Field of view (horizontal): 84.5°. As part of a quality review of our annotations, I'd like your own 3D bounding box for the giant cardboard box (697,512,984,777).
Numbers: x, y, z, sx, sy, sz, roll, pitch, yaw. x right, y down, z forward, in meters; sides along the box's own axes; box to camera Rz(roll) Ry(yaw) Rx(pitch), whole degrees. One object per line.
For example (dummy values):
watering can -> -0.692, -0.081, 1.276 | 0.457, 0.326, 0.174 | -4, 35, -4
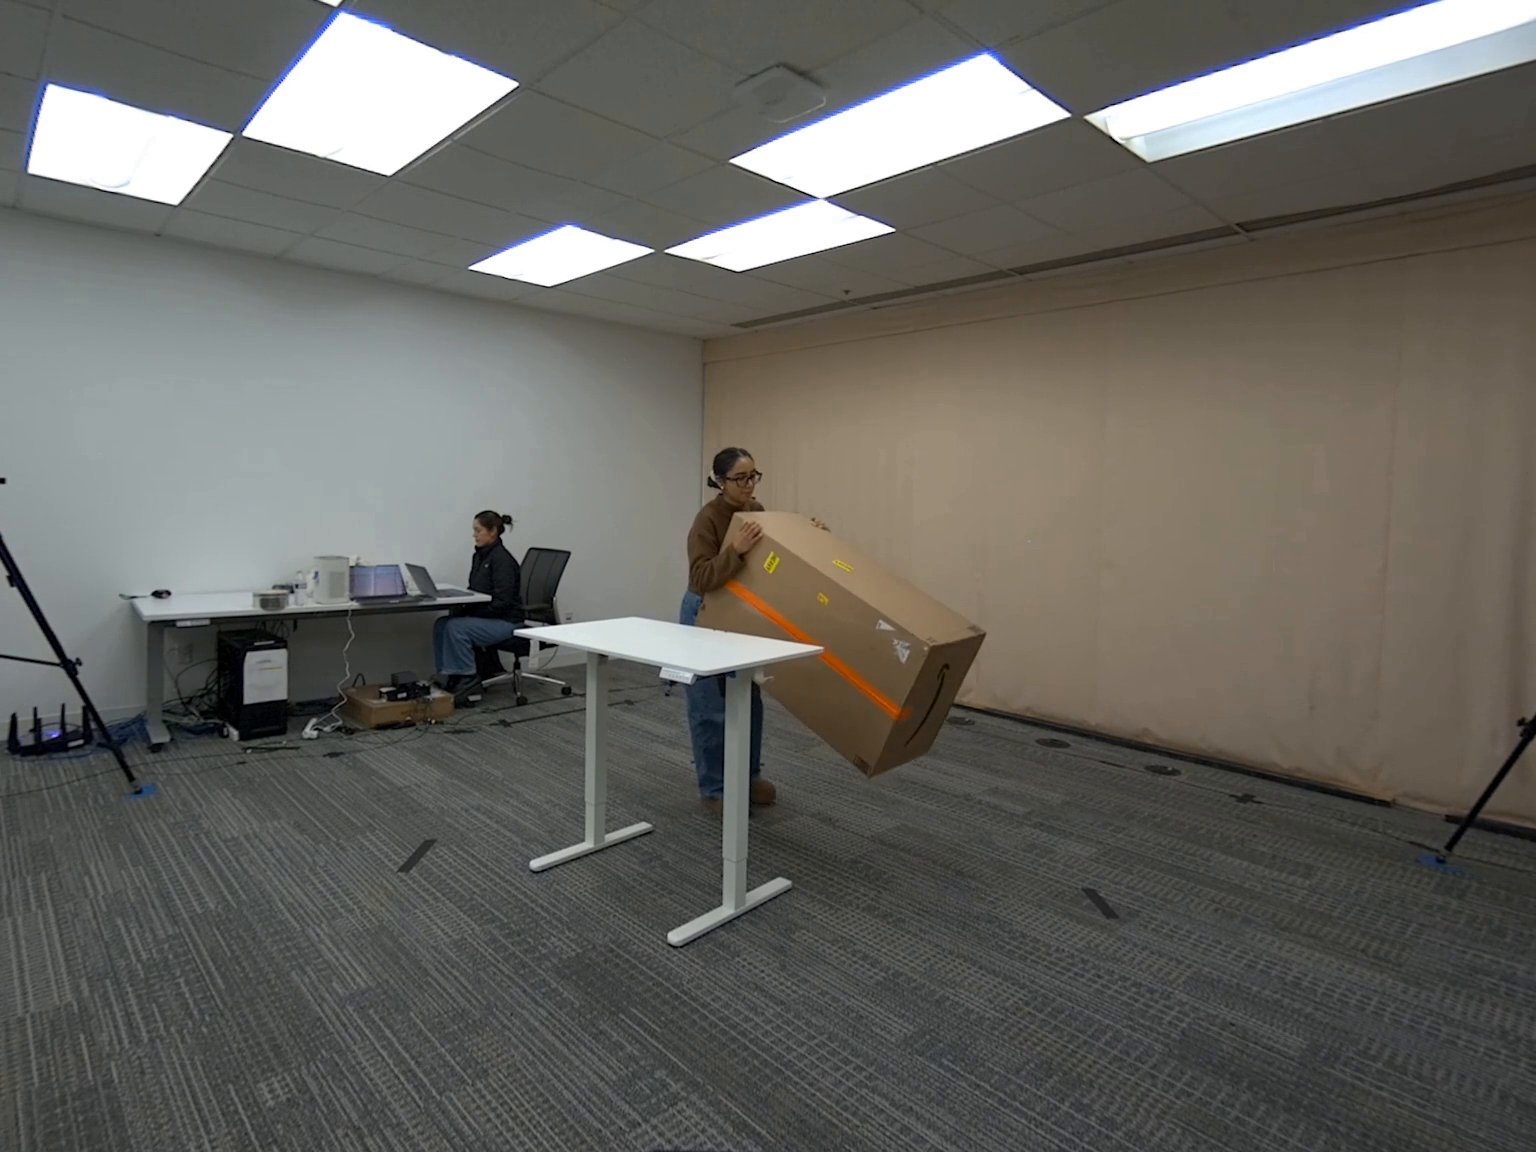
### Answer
giant cardboard box -> 0.255, 0.230, 3.409 | 0.416, 0.573, 1.058 | -3, 31, -47
